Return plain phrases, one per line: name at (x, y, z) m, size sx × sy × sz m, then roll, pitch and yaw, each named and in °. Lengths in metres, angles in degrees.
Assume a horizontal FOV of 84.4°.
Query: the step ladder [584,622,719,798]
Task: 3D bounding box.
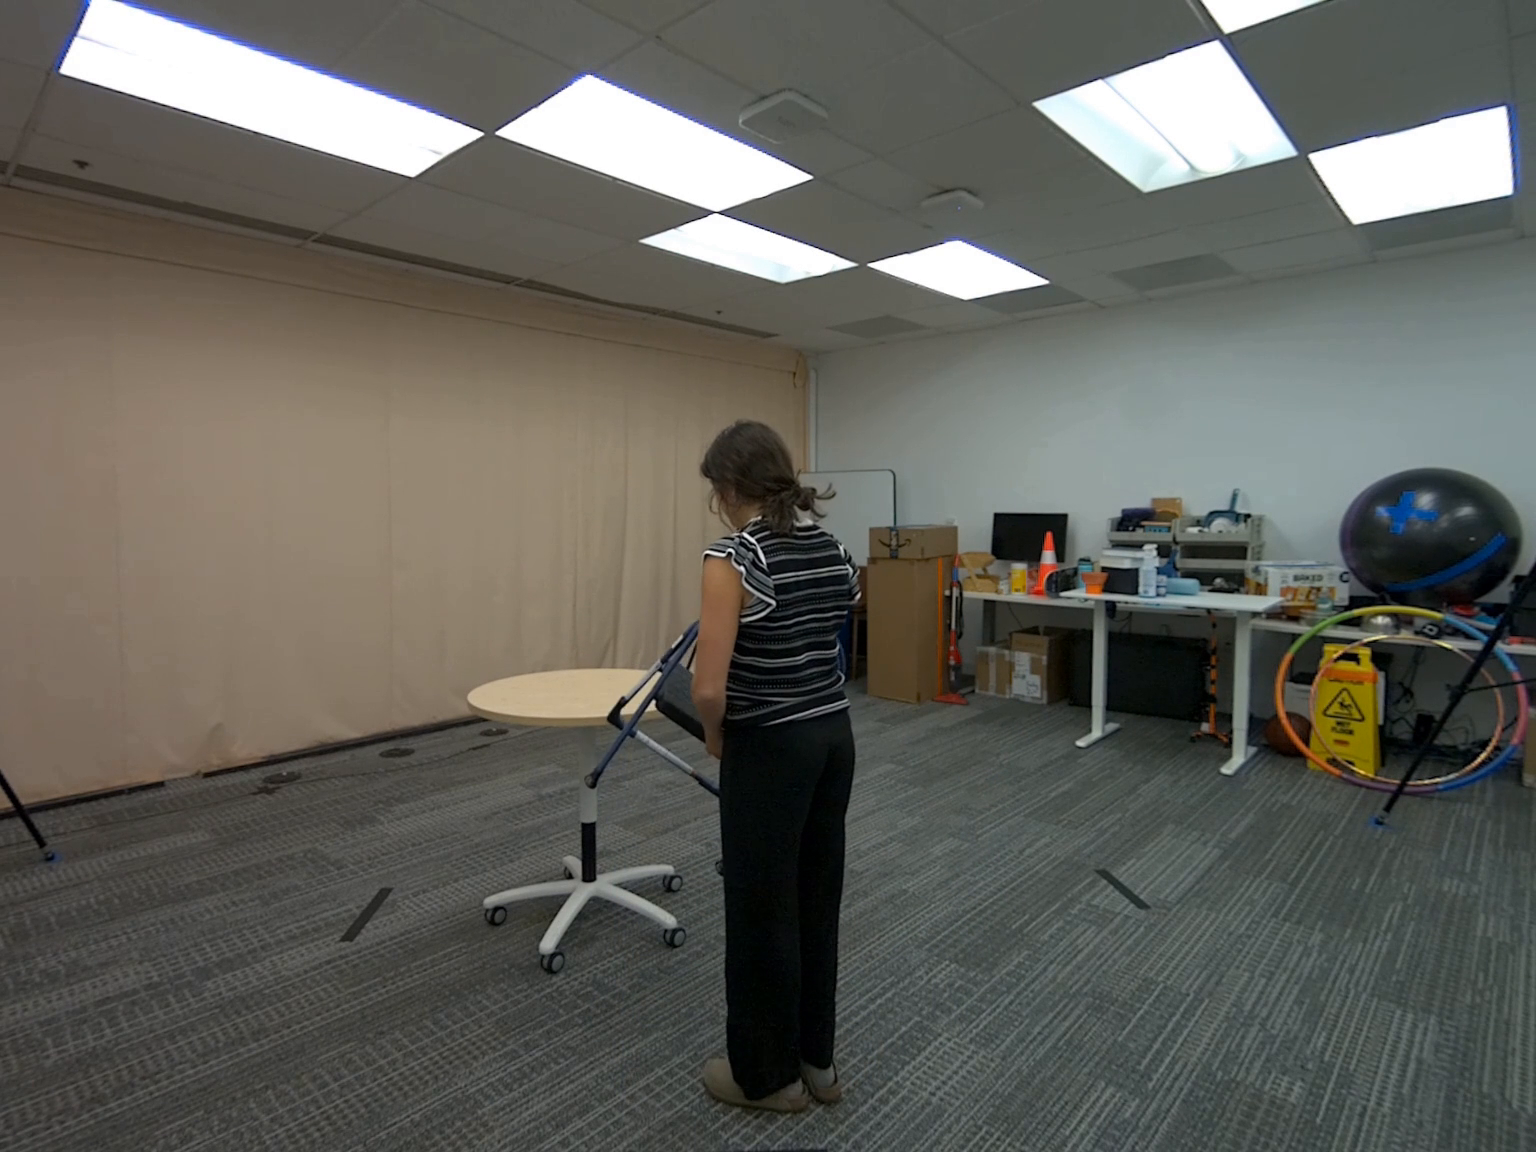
step ladder at (-0.091, 0.340, 2.130) m, size 0.425 × 0.607 × 0.353 m, roll 37°, pitch 12°, yaw -12°
